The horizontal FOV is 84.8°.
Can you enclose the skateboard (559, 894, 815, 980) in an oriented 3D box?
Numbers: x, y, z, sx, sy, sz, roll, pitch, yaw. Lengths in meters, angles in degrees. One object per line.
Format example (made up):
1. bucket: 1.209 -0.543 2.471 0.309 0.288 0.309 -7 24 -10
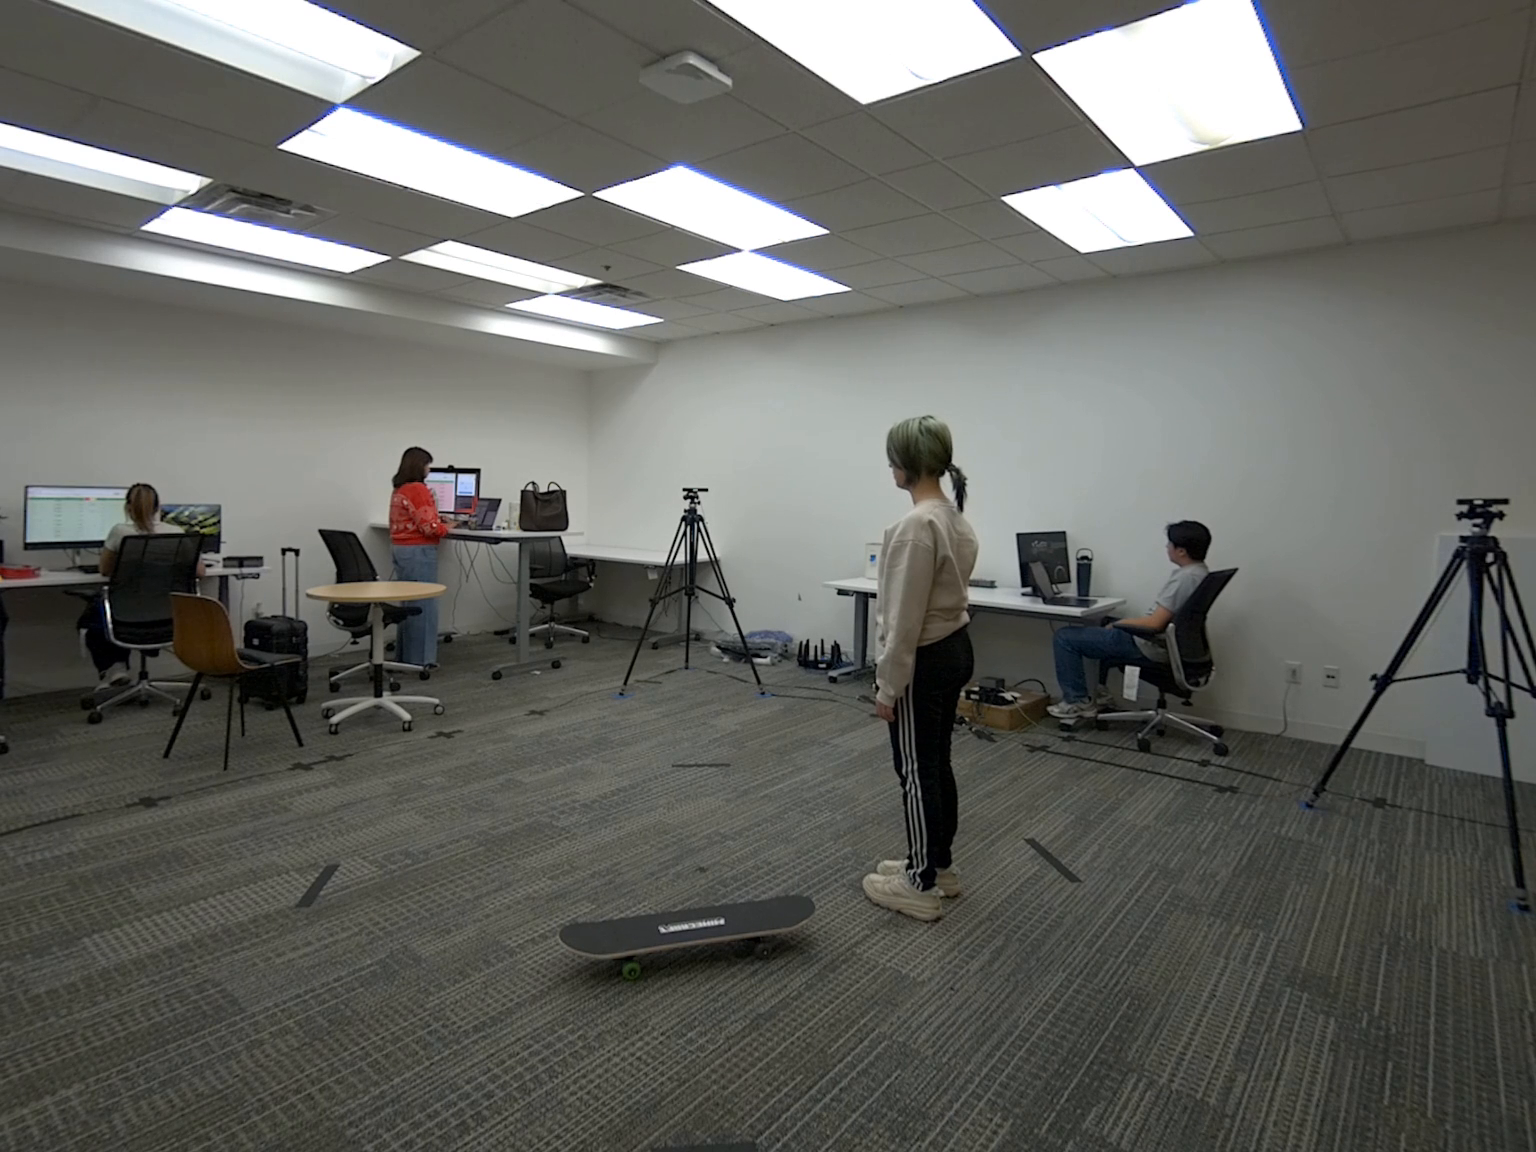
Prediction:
1. skateboard: -0.232 1.070 2.531 0.771 0.110 0.197 -1 4 -18
